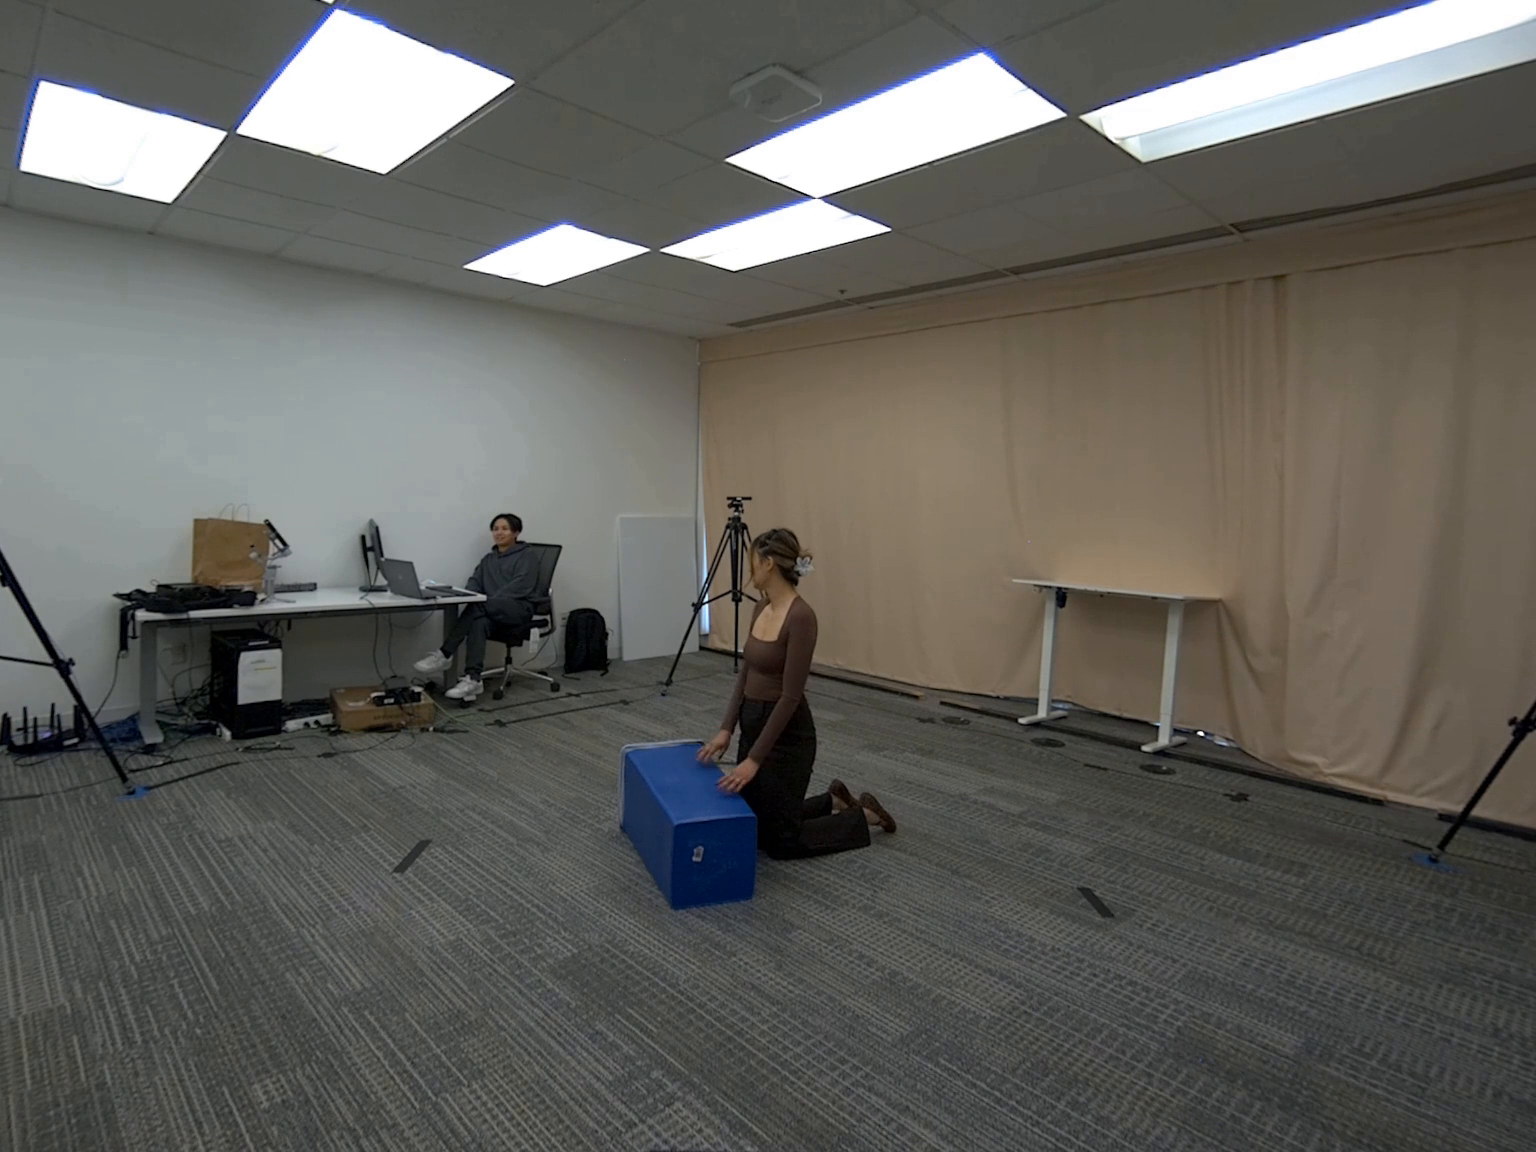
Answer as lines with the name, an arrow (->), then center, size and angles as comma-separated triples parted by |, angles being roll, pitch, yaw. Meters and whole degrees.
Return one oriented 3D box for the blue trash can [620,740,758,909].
blue trash can -> -0.322, 0.920, 3.195 | 0.368, 0.377, 0.727 | 1, 6, -20
